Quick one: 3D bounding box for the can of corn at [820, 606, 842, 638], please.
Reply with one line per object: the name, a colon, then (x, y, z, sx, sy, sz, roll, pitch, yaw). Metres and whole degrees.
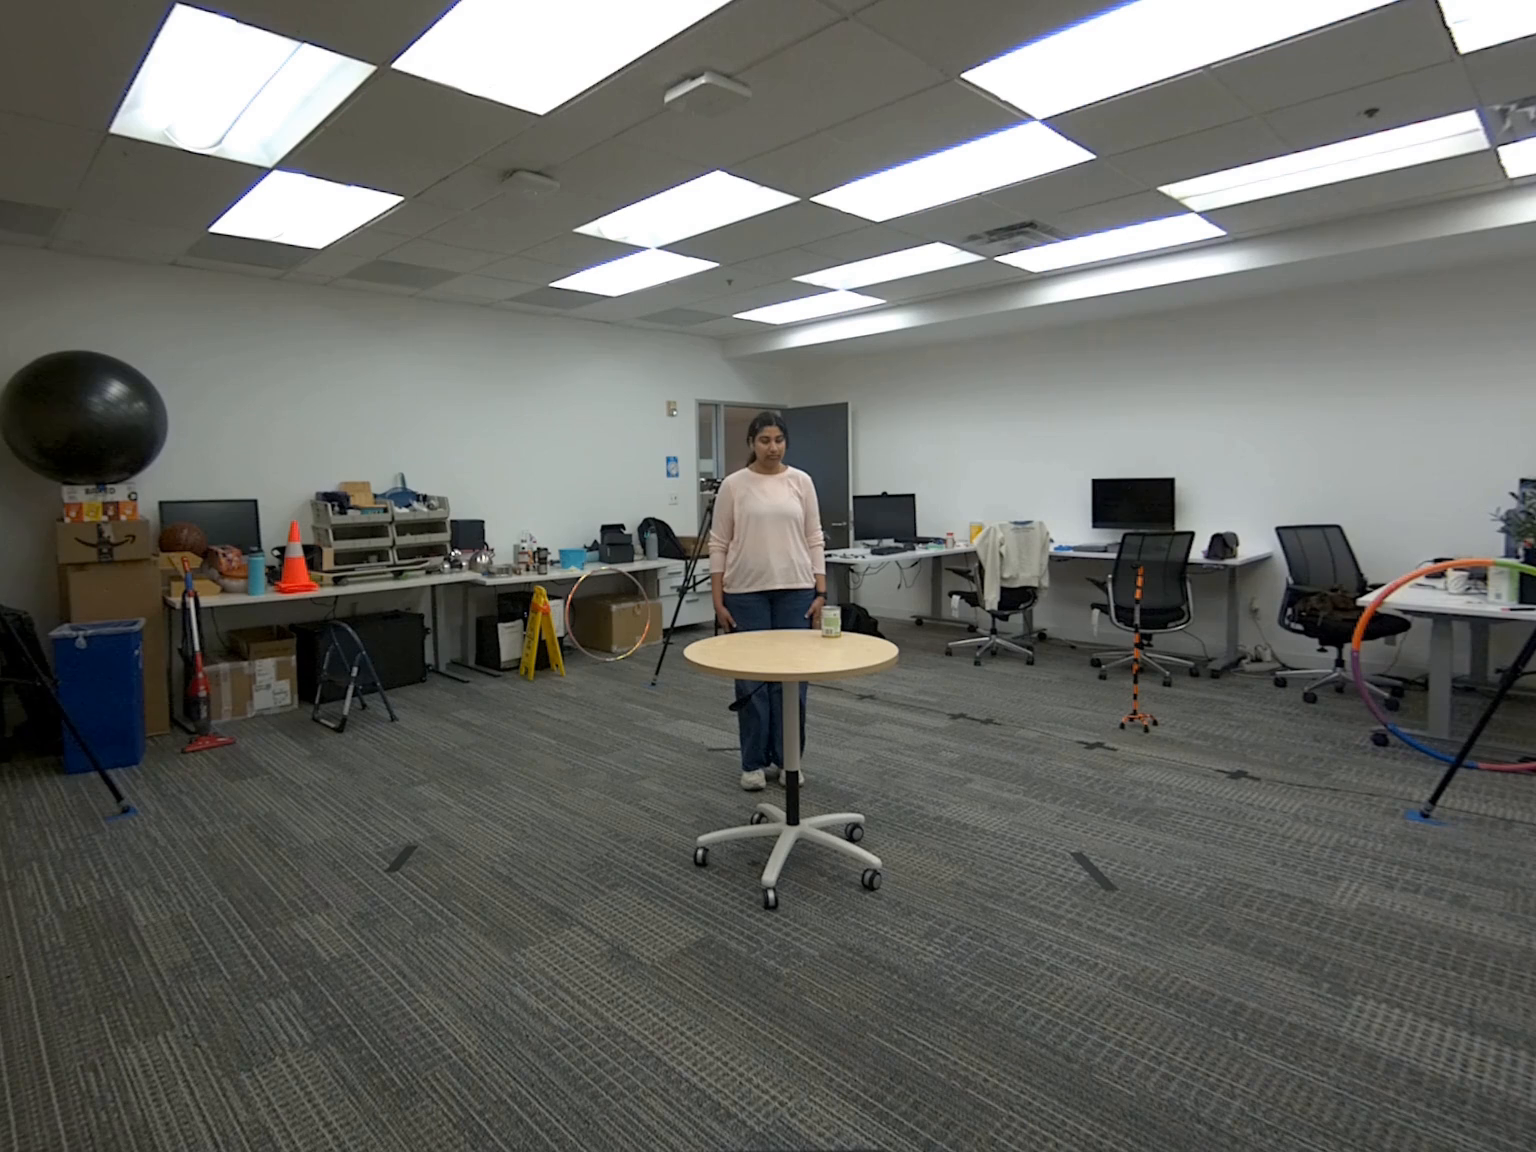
can of corn: (0.243, 0.176, 3.284, 0.074, 0.110, 0.074, -3, 5, -1)
